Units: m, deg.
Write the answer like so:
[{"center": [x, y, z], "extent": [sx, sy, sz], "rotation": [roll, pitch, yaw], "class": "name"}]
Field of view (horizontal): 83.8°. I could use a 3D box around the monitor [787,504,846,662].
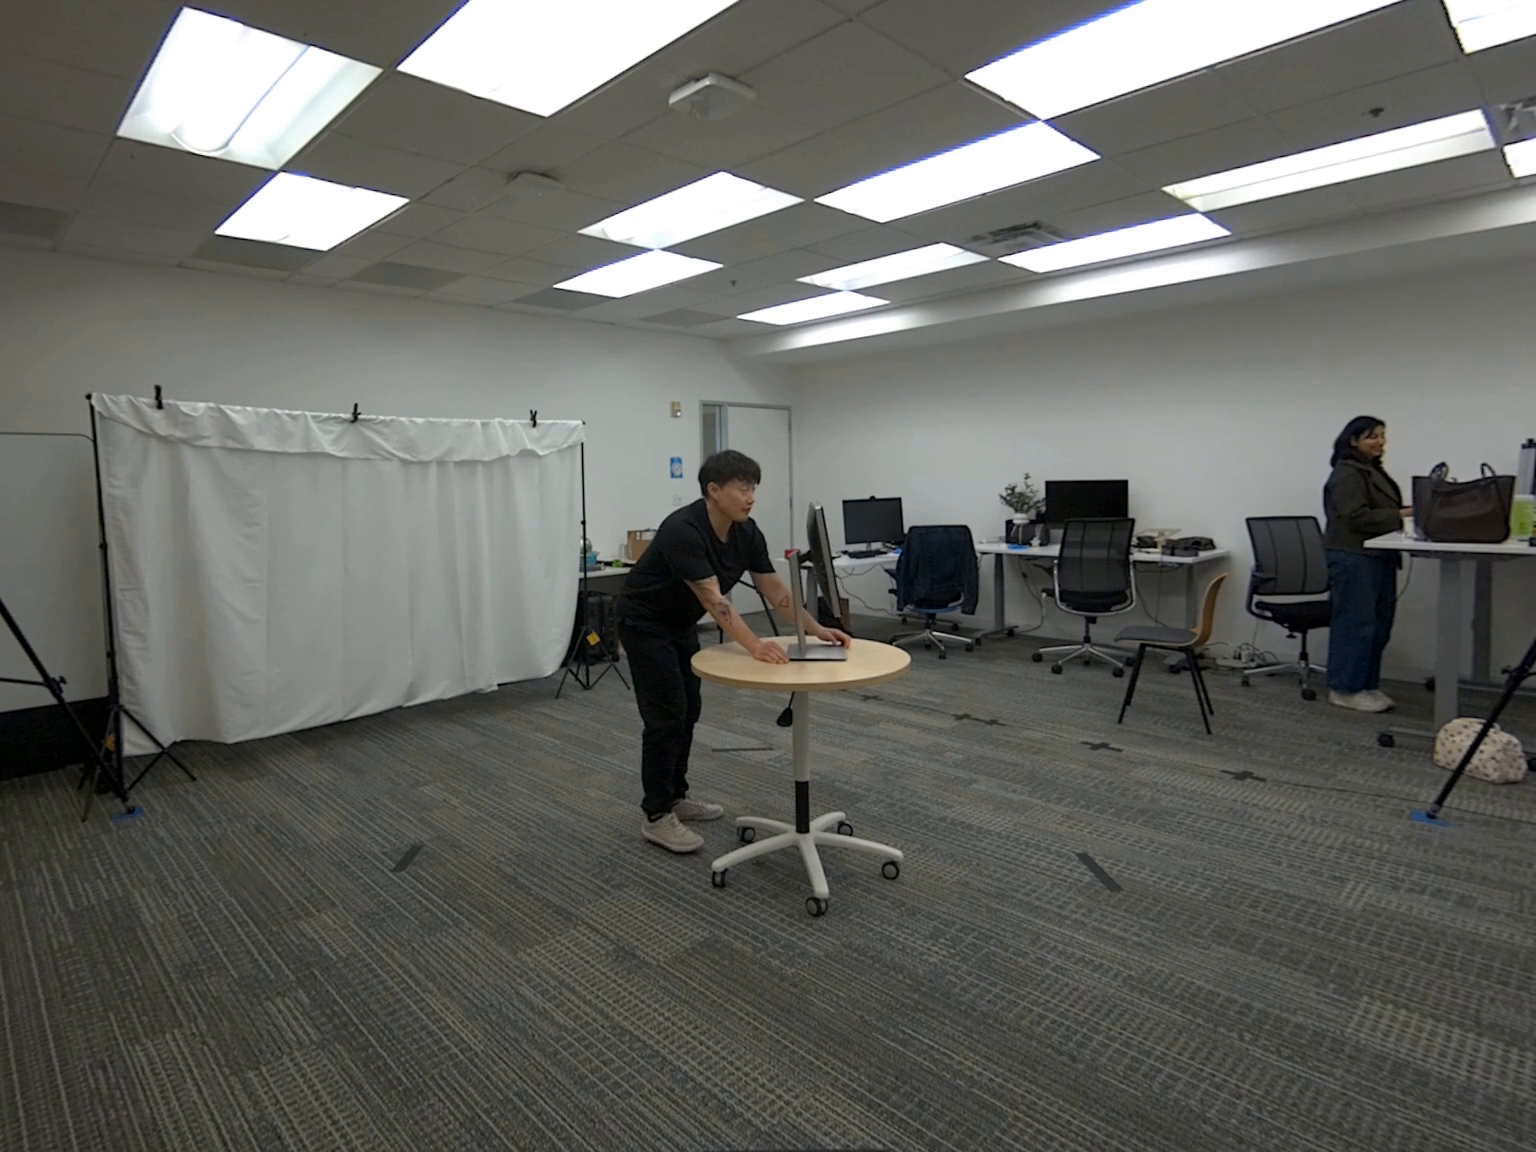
[{"center": [0.162, 0.010, 3.034], "extent": [0.187, 0.520, 0.541], "rotation": [0, 6, 0], "class": "monitor"}]
